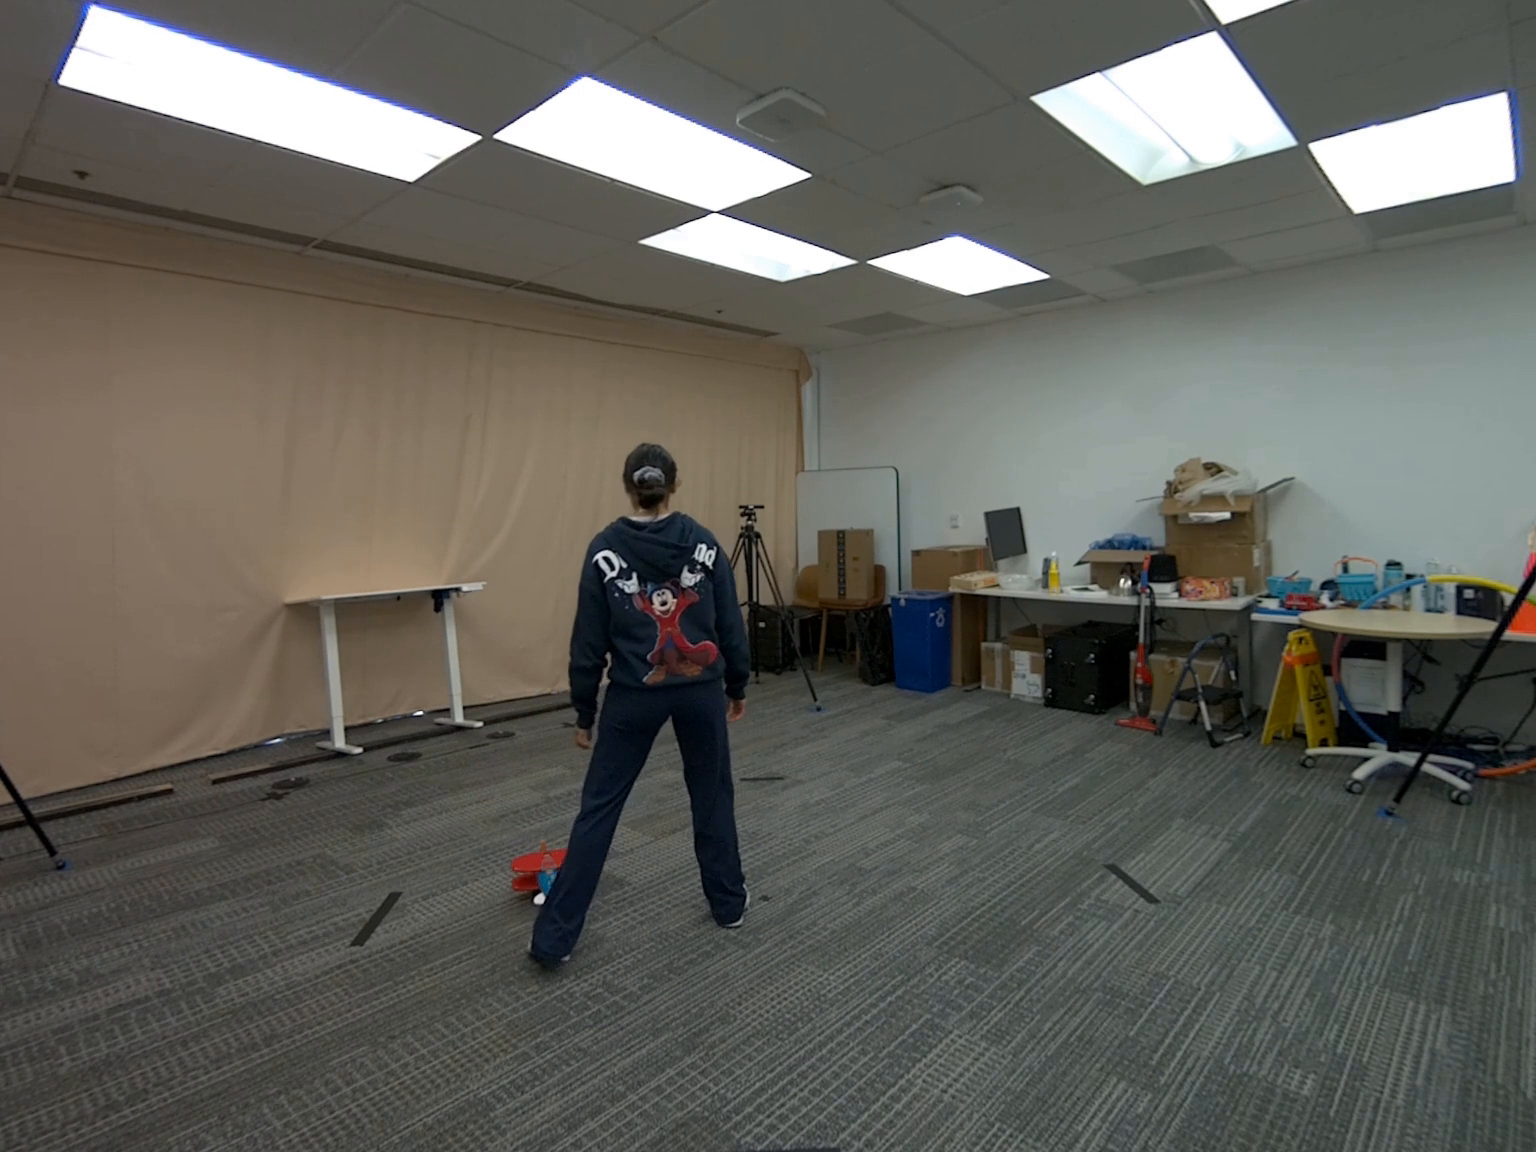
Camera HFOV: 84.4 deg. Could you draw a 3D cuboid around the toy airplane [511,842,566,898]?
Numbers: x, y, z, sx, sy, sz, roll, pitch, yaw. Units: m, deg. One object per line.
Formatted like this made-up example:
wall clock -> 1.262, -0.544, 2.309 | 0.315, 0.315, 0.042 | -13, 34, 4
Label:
toy airplane -> -0.766, 1.083, 3.005 | 0.267, 0.156, 0.243 | 0, 4, 44
